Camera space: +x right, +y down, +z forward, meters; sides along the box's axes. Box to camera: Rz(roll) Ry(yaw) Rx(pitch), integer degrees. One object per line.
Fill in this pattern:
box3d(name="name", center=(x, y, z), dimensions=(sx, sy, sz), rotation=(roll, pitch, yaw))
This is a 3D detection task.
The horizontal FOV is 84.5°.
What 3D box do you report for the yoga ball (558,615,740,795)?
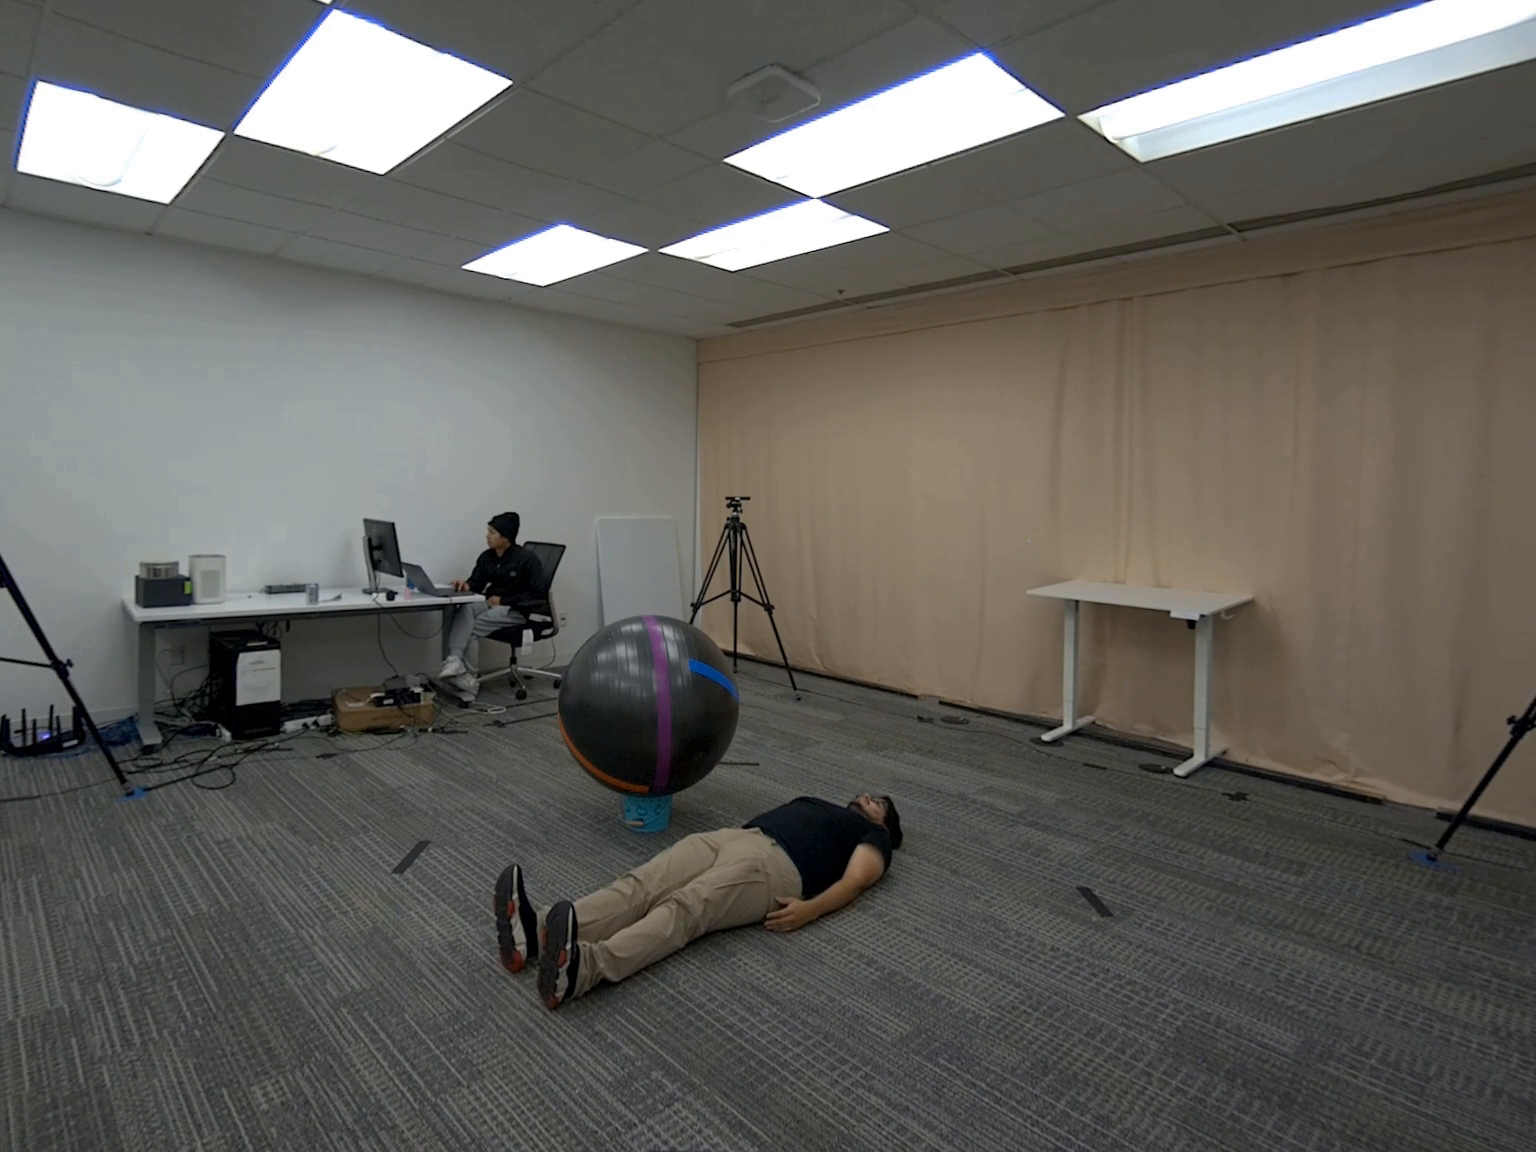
box3d(name="yoga ball", center=(-0.511, 0.552, 3.568), dimensions=(0.757, 0.755, 0.761), rotation=(1, 5, -1))
